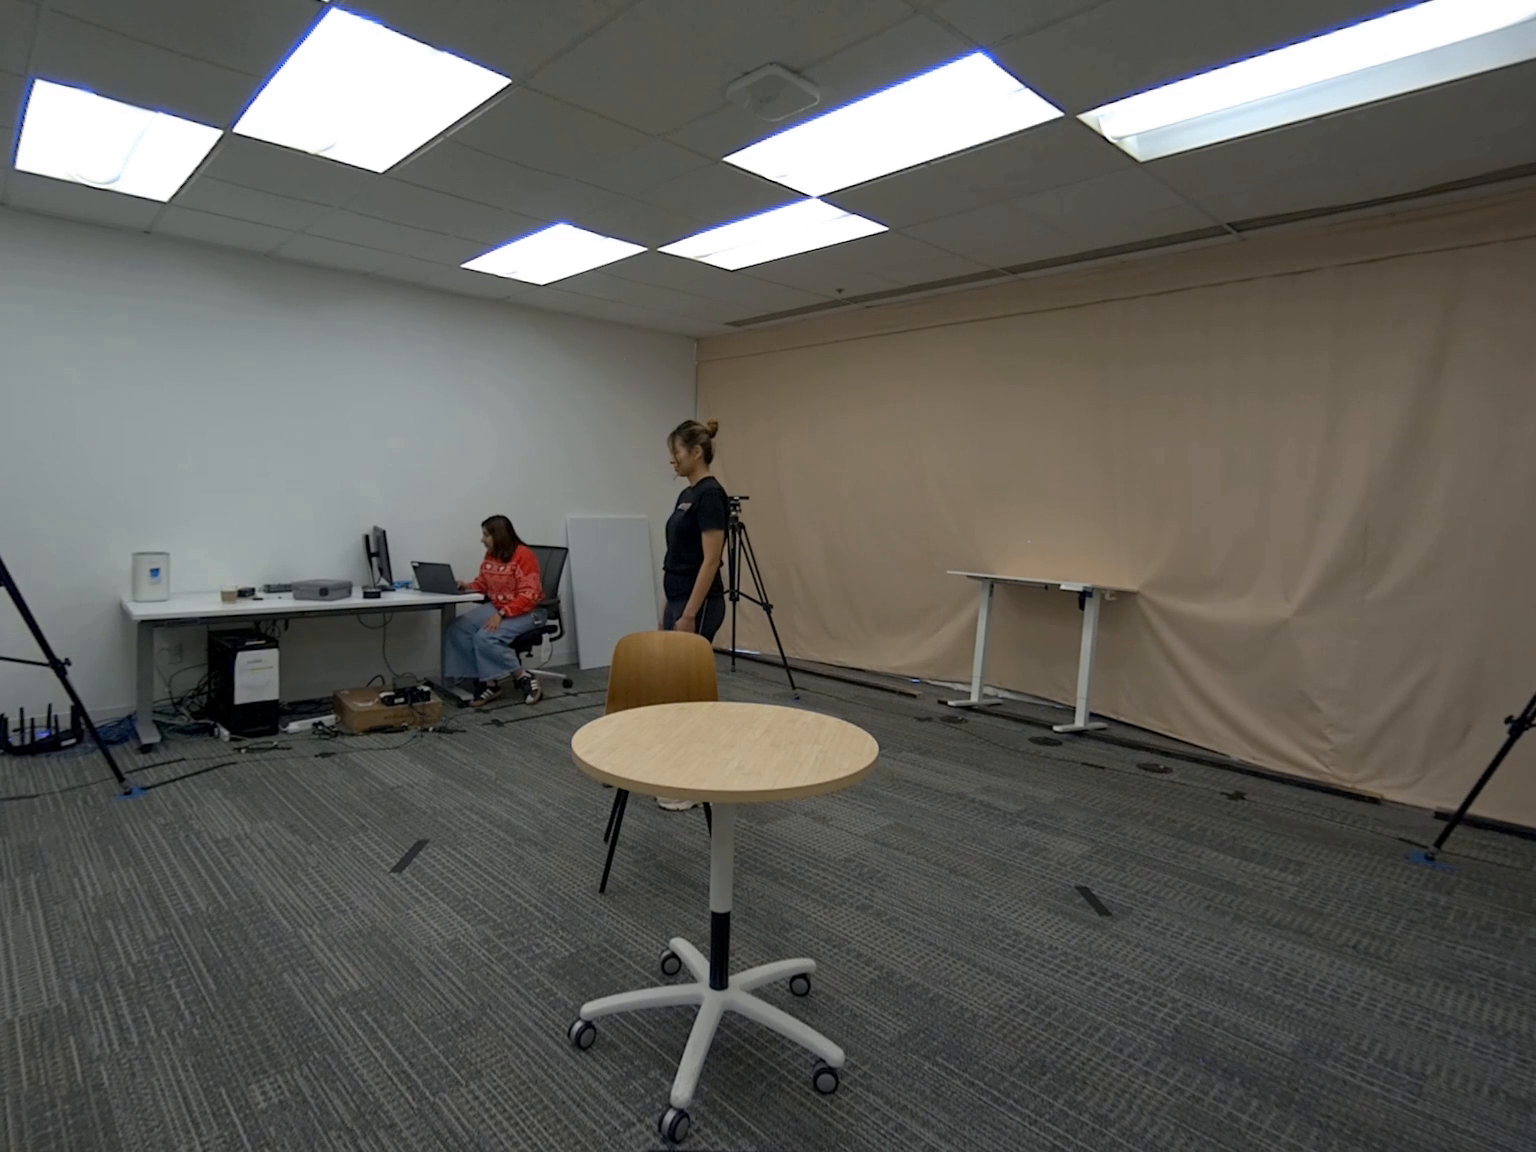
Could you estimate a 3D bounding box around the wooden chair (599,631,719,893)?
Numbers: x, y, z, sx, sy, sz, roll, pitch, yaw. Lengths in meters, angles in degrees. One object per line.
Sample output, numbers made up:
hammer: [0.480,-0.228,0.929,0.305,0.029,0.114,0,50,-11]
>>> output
wooden chair: [-0.390,0.669,3.145,0.475,0.878,0.526,2,0,-9]
